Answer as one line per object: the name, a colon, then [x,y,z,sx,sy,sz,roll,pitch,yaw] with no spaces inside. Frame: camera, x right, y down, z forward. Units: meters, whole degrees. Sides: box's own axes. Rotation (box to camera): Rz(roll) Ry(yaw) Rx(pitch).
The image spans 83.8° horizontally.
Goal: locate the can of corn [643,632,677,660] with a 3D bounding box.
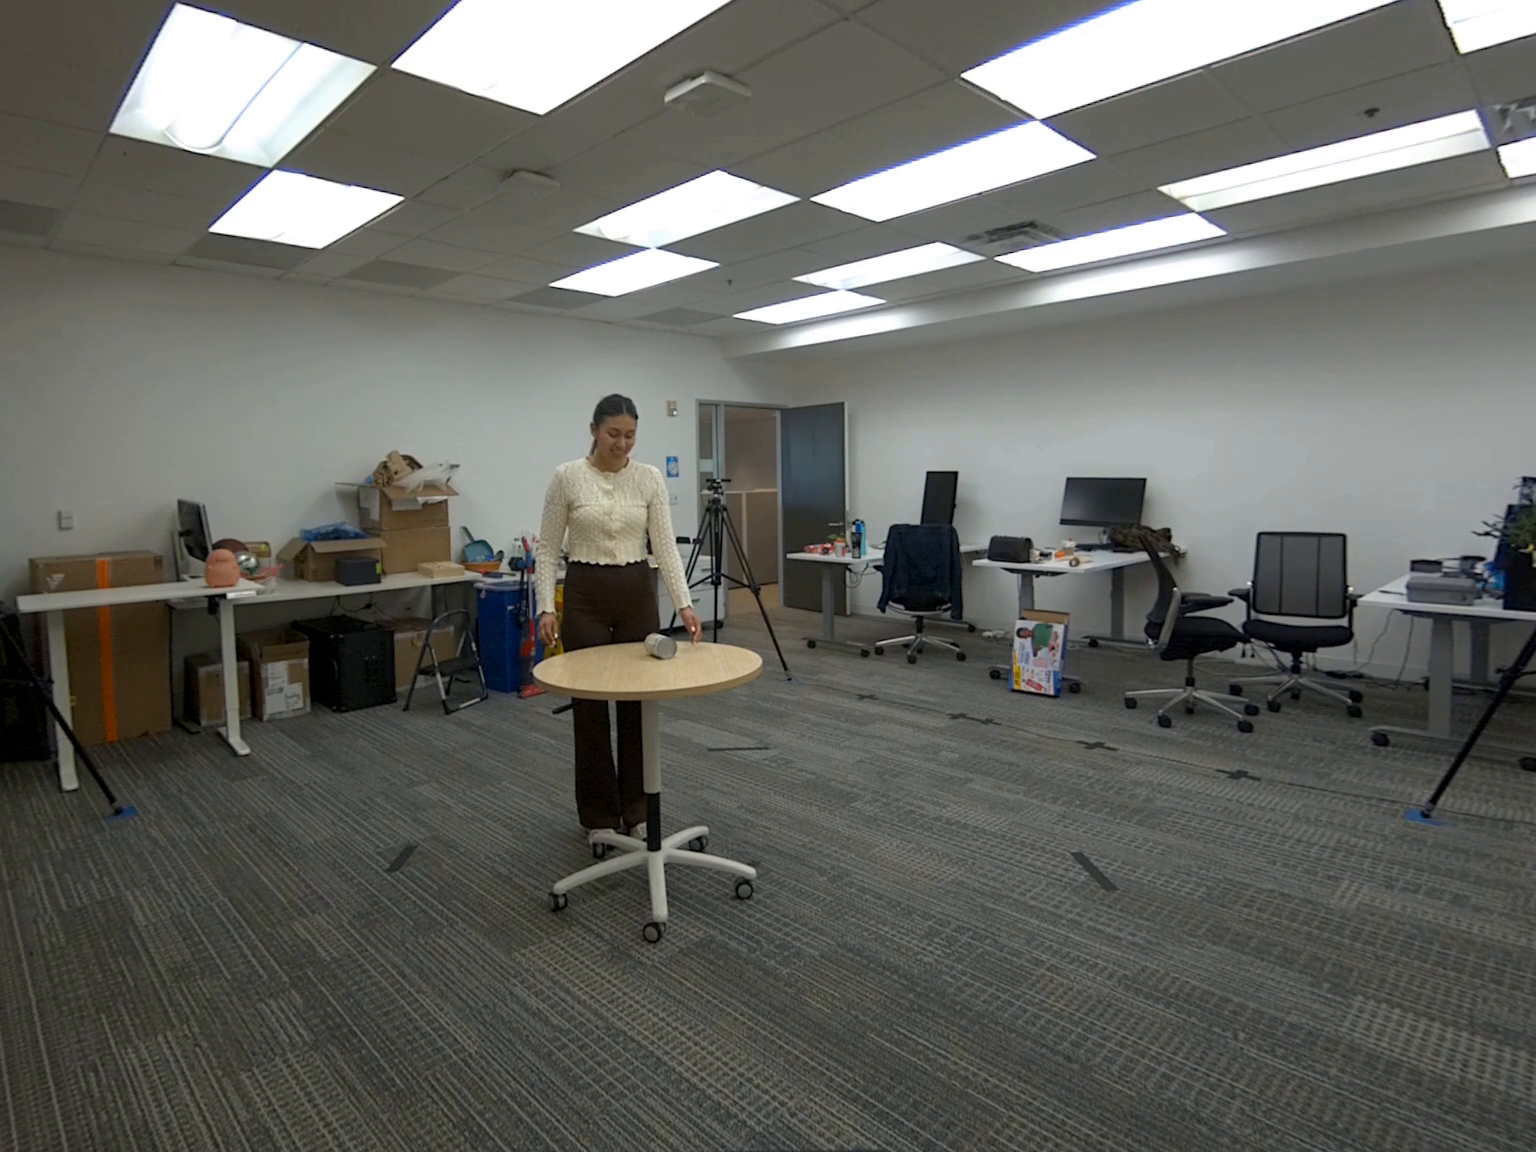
can of corn: [-0.376,0.245,2.969,0.072,0.074,0.114,-3,6,-27]
